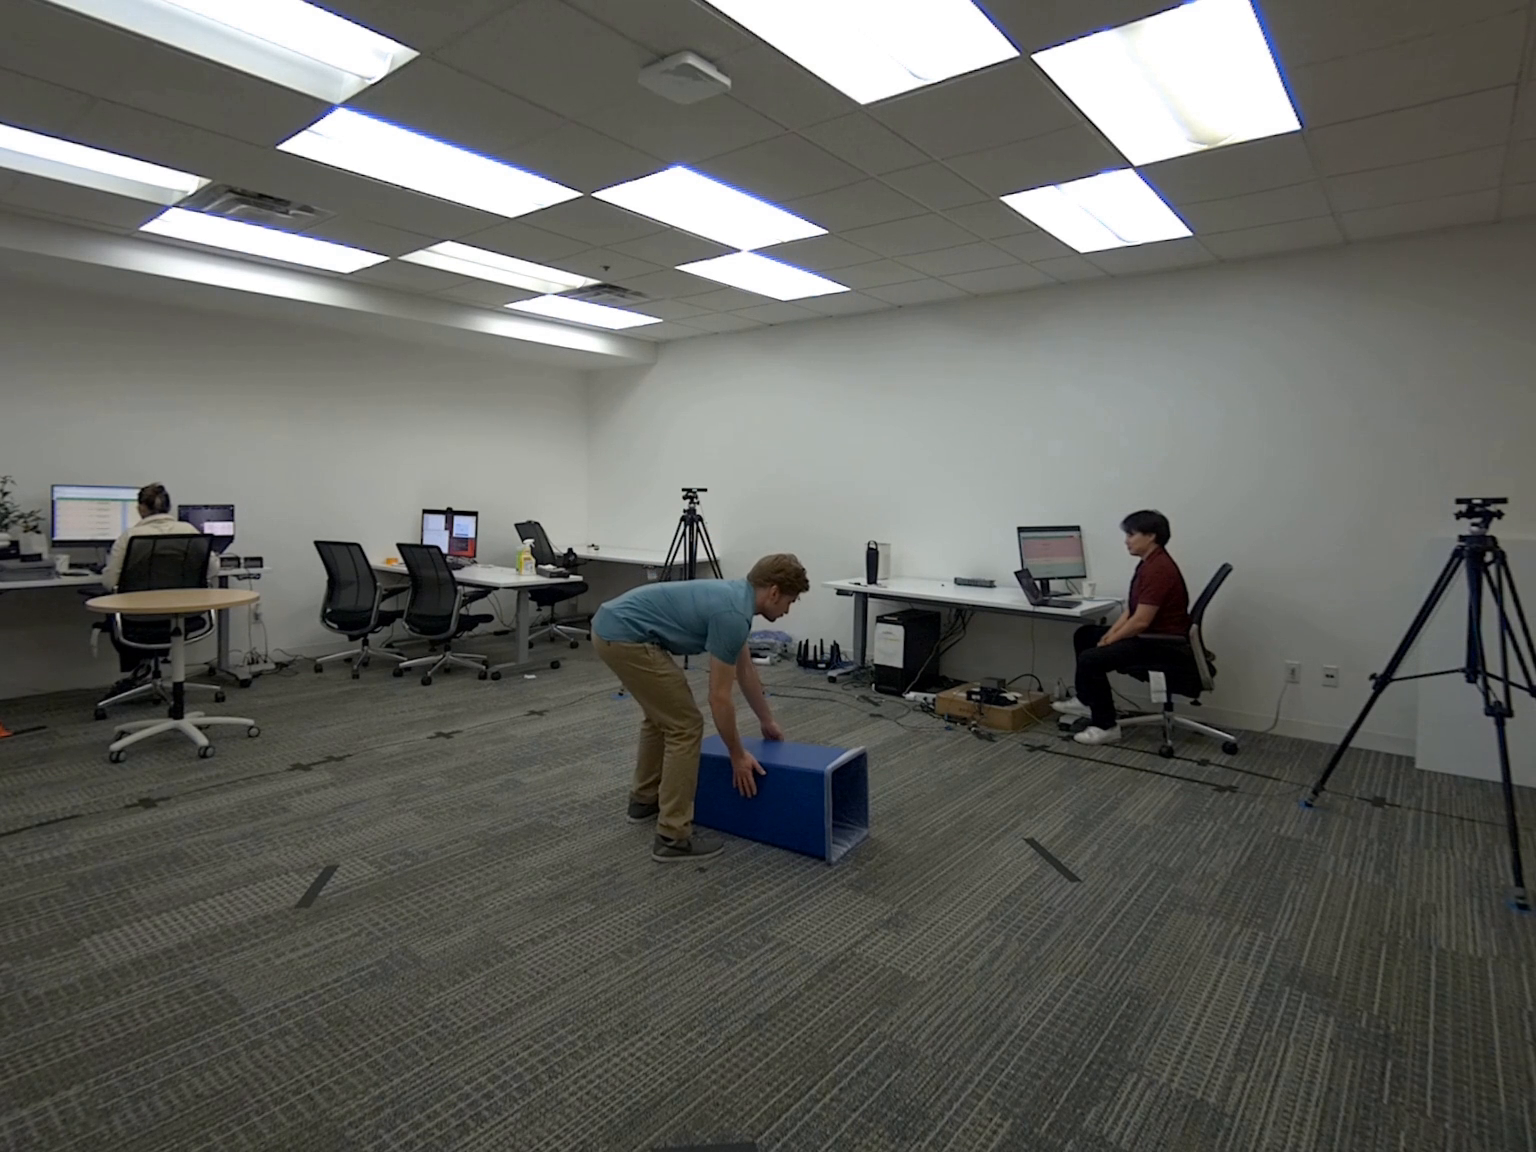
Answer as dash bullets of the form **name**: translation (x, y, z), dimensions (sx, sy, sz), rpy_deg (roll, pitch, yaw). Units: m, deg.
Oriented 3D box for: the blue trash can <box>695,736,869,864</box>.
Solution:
- **blue trash can**: translation (0.000, 0.873, 3.484), dimensions (0.734, 0.377, 0.364), rpy_deg (1, 4, 31)
